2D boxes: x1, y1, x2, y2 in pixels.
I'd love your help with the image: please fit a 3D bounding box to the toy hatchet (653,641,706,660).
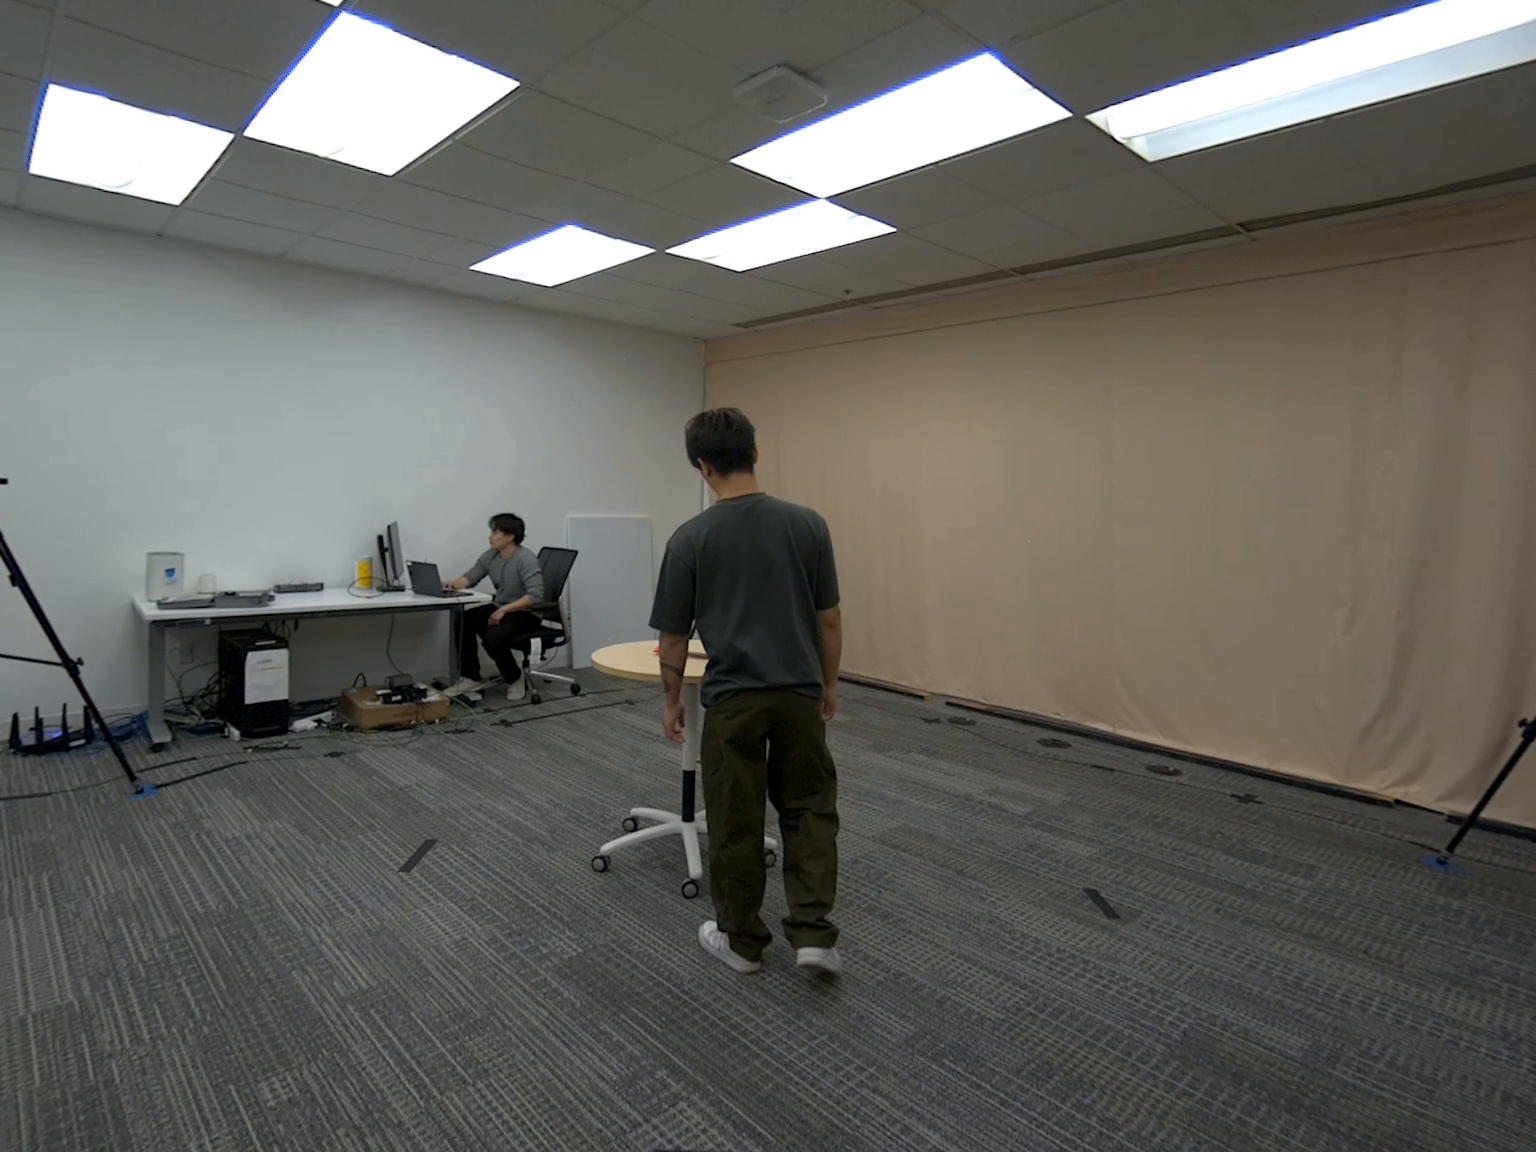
[{"bbox_3d":[-0.305,0.297,3.237,0.273,0.029,0.129,5,1,13],"label":"toy hatchet"}]
